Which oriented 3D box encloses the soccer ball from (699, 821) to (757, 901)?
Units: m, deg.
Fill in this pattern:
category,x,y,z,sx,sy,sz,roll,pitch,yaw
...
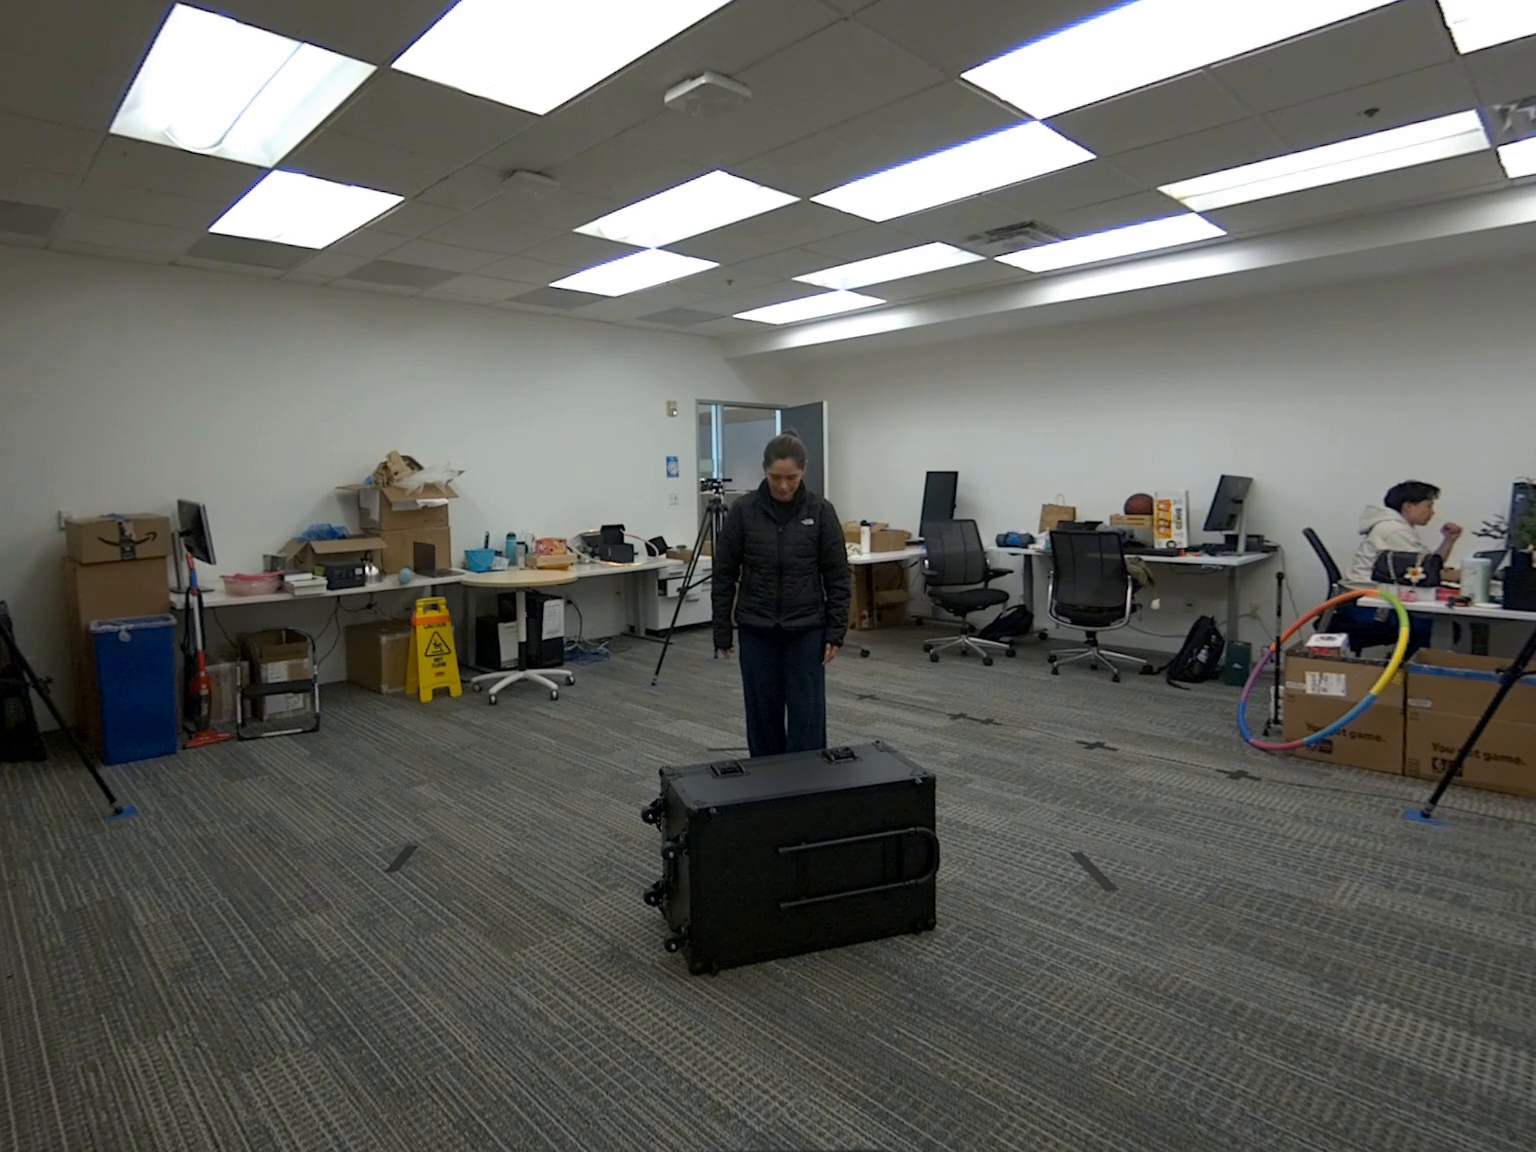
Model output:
category,x,y,z,sx,sy,sz,roll,pitch,yaw
soccer ball,-0.139,0.971,2.936,0.187,0.187,0.188,-1,5,-2
